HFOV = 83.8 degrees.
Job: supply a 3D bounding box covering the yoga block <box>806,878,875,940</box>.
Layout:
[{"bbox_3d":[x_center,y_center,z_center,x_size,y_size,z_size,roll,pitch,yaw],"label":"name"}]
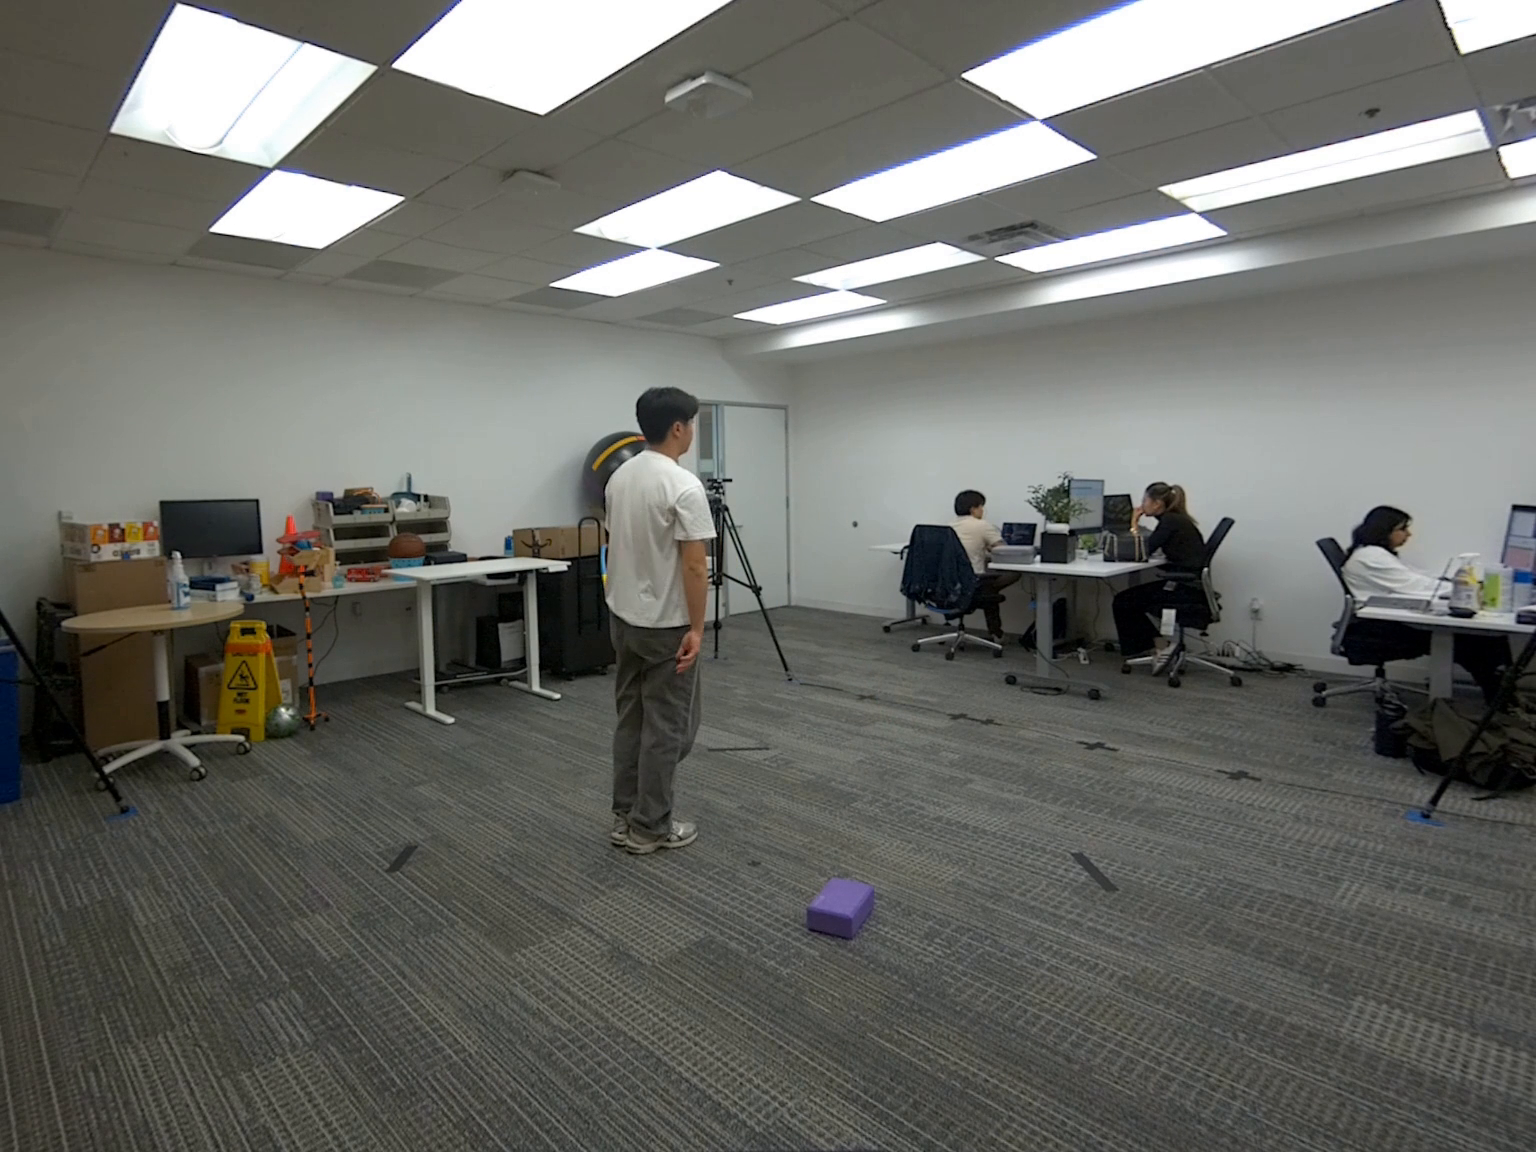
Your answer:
[{"bbox_3d":[0.237,1.048,2.710,0.152,0.076,0.225,1,7,26],"label":"yoga block"}]
